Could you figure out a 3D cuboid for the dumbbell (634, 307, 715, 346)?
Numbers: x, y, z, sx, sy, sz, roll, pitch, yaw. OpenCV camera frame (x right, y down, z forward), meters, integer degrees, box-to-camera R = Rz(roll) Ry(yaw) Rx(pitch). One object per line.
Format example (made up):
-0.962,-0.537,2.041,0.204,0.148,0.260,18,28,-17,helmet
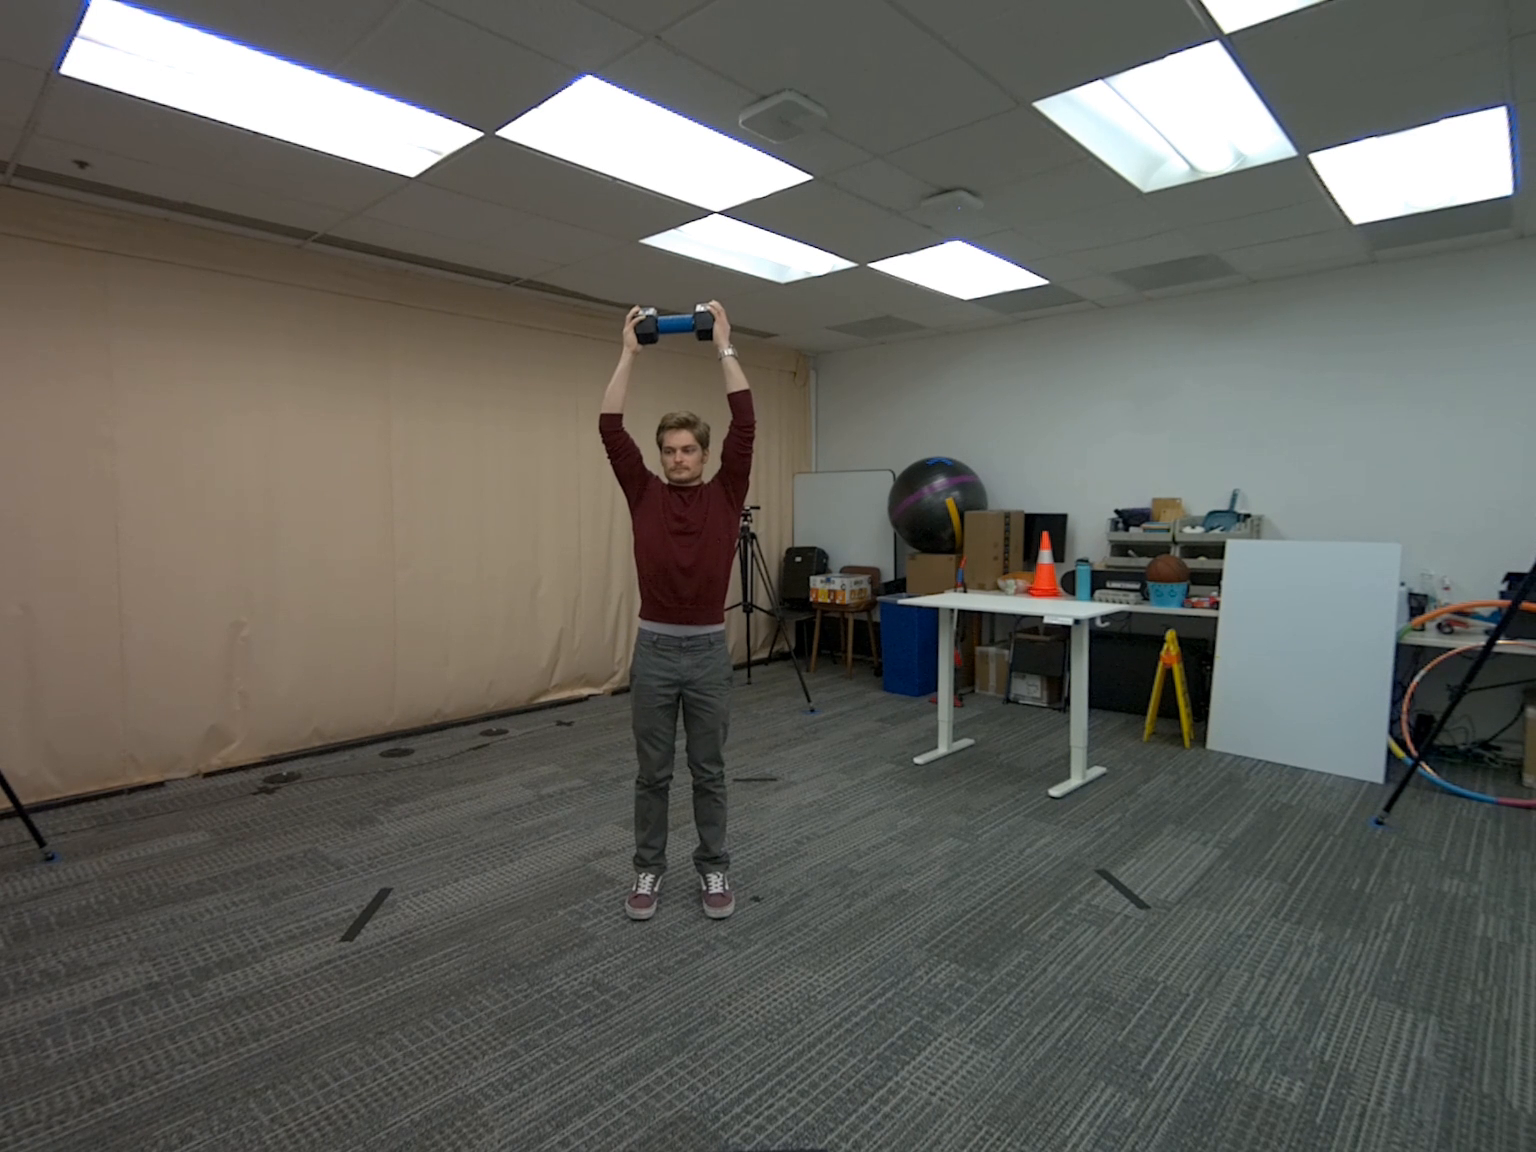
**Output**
-0.316,-0.865,2.908,0.295,0.106,0.124,-2,34,6,dumbbell
